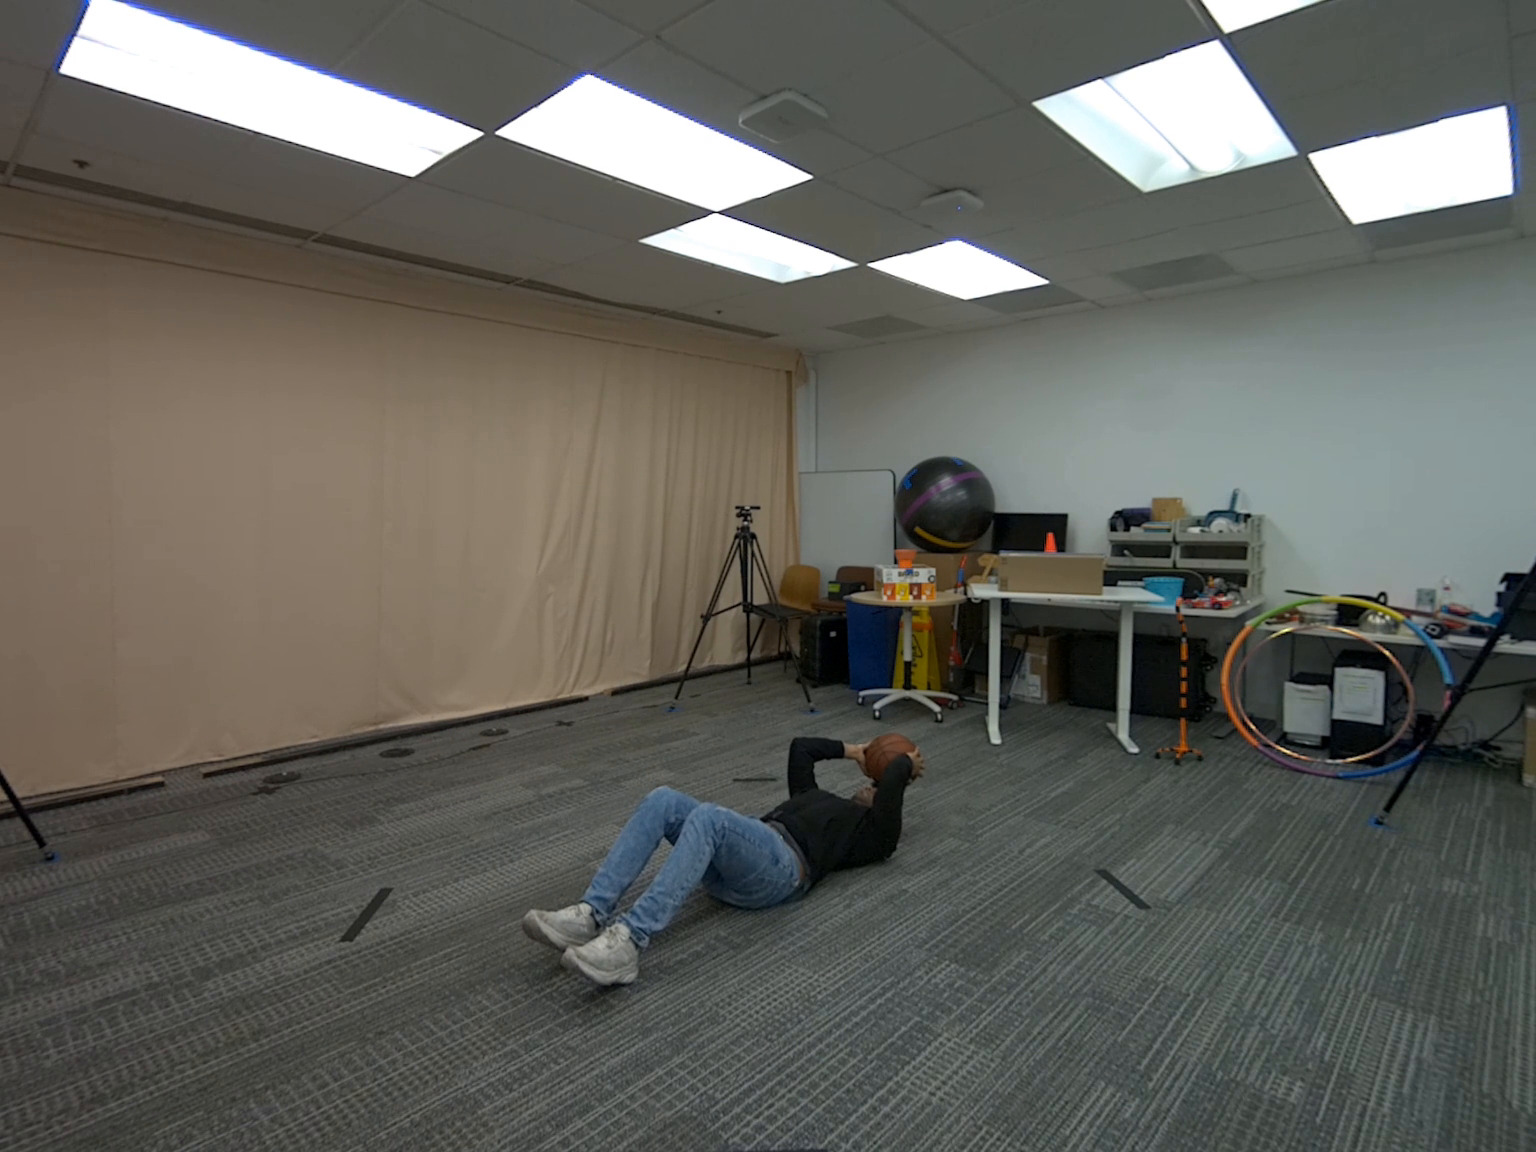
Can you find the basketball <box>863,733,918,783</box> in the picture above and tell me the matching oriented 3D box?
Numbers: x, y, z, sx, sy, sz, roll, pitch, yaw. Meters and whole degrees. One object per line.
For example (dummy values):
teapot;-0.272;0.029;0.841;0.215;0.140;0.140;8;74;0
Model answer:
basketball;0.546;0.798;3.673;0.236;0.235;0.237;0;4;-2
